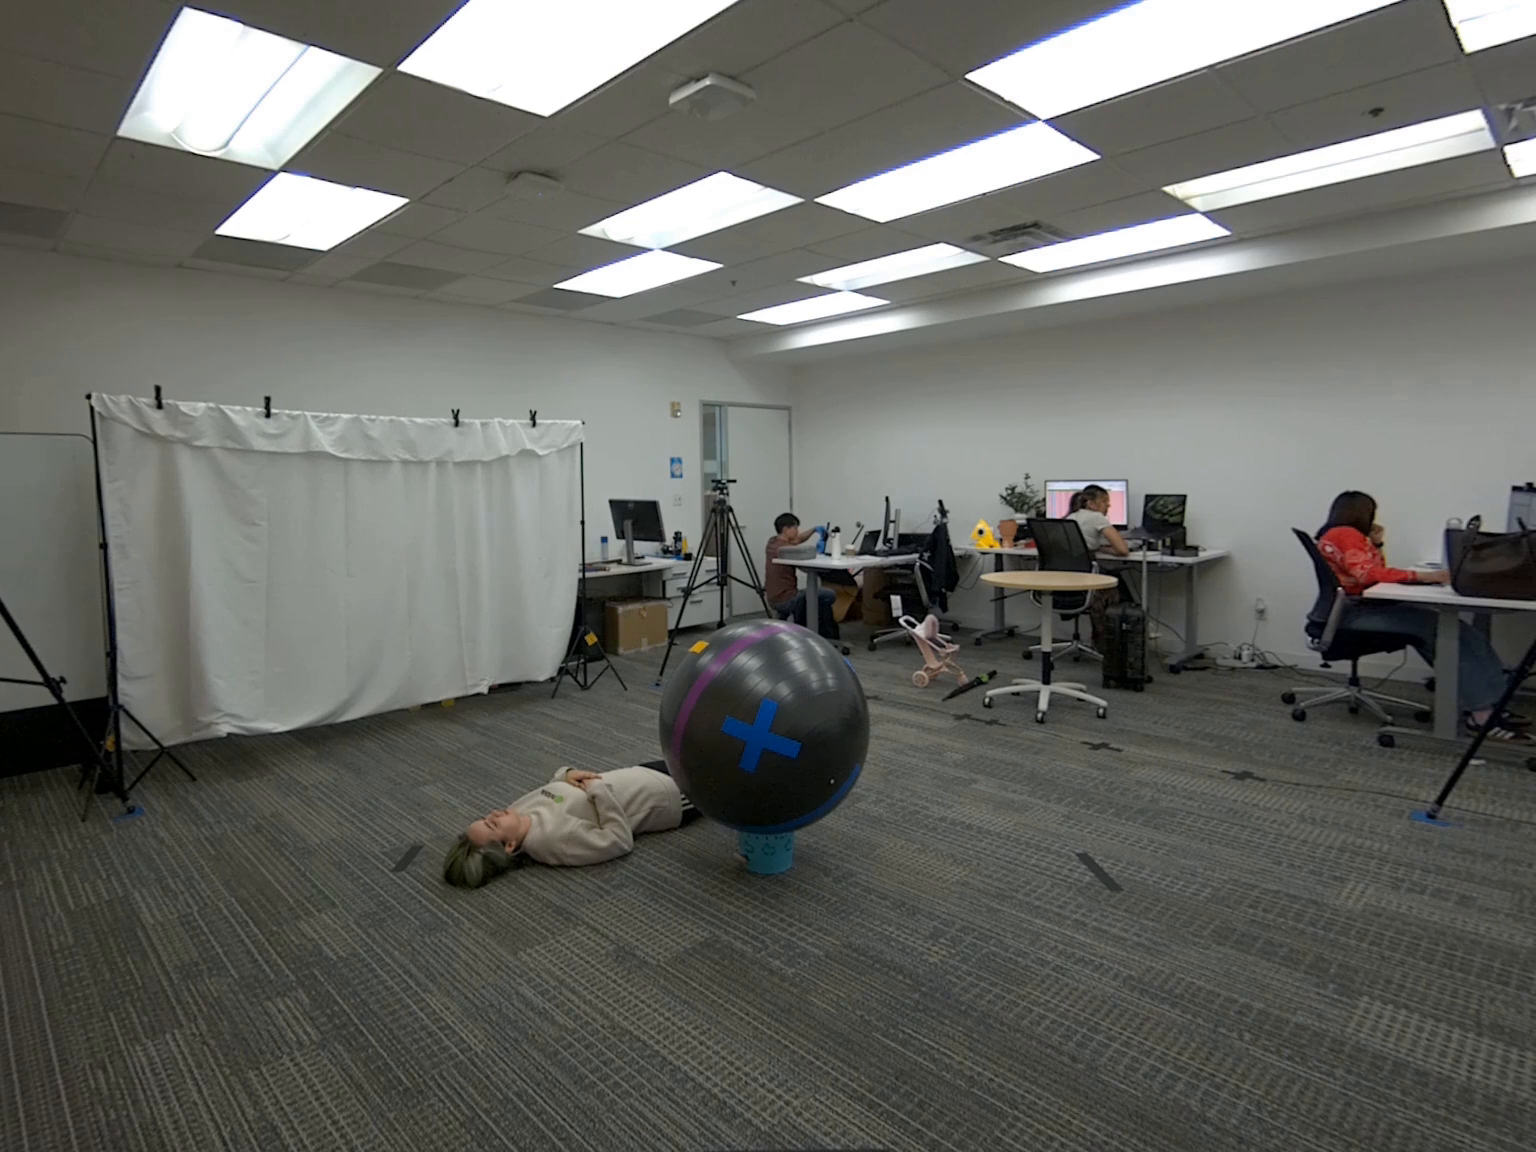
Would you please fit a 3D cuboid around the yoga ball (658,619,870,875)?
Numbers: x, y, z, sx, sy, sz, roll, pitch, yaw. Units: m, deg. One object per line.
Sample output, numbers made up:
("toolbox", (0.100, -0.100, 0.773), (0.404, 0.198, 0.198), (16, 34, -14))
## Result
("yoga ball", (-0.015, 0.535, 3.091), (0.757, 0.755, 0.762), (-1, 5, -2))
